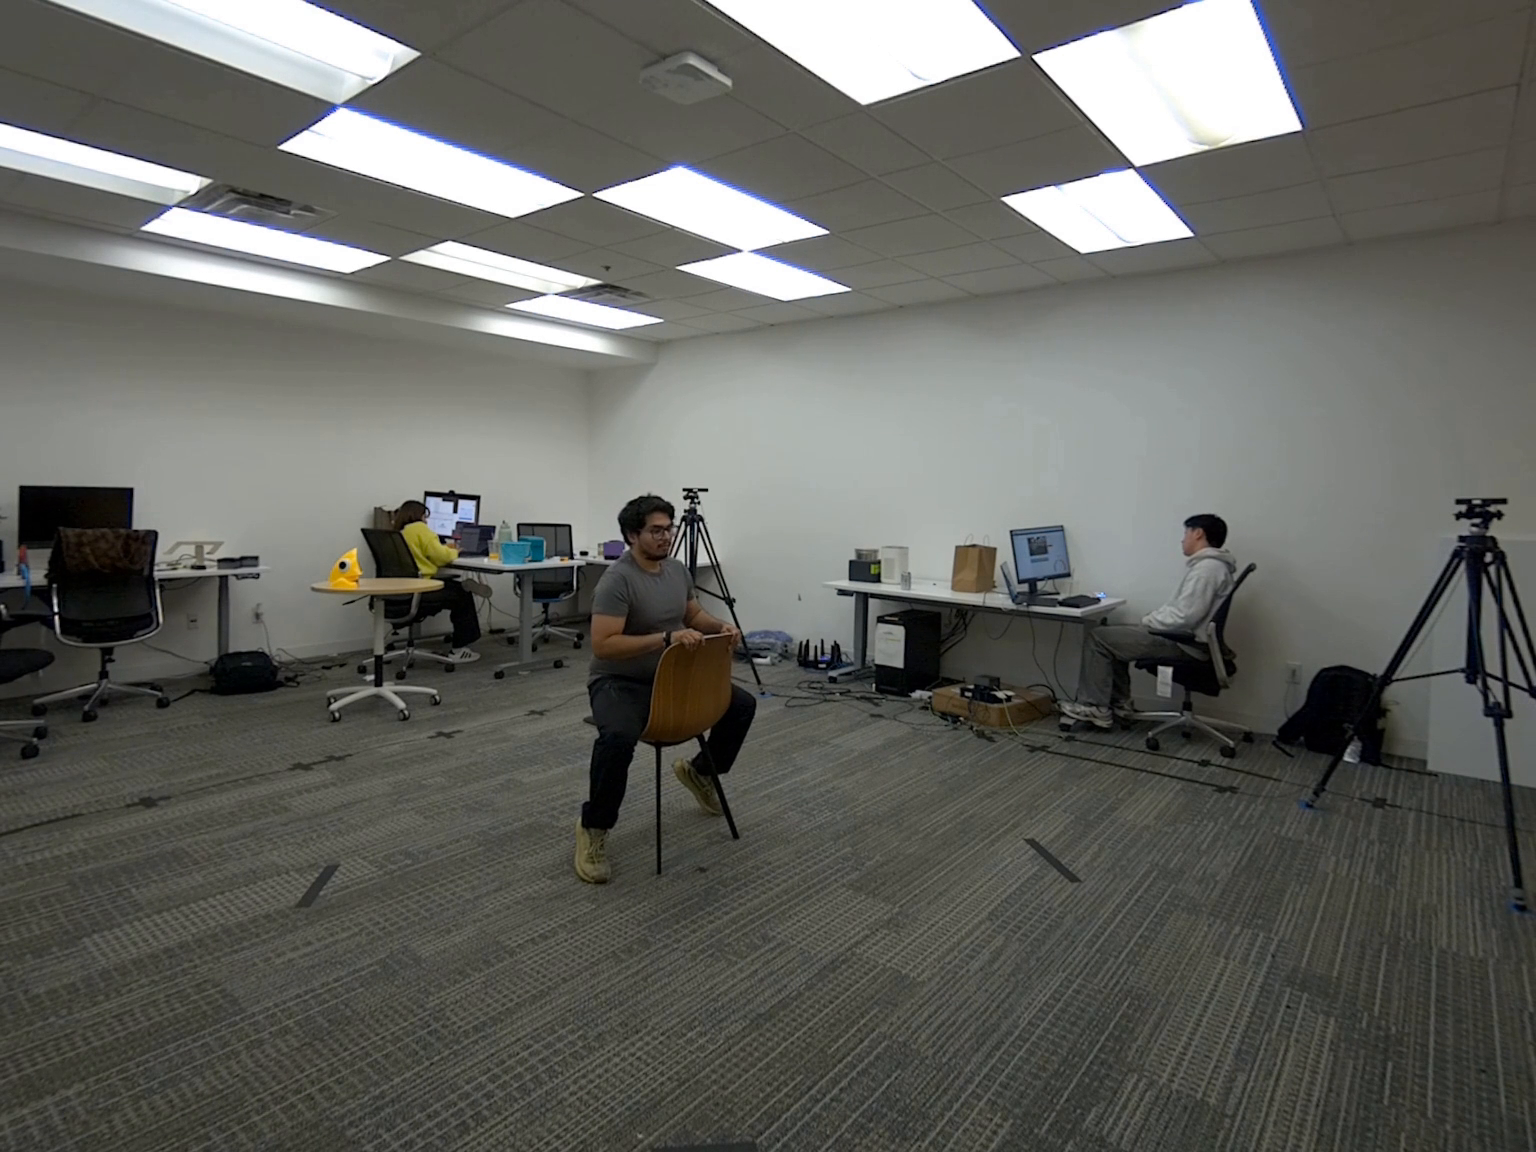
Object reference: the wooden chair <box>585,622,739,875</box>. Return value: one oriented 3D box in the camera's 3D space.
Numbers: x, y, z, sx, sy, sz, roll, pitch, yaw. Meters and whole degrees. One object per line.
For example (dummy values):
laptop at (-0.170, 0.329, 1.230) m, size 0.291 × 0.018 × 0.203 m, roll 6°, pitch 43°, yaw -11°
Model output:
wooden chair at (-0.441, 0.616, 3.351) m, size 0.542 × 0.873 × 0.464 m, roll 9°, pitch 8°, yaw 39°
